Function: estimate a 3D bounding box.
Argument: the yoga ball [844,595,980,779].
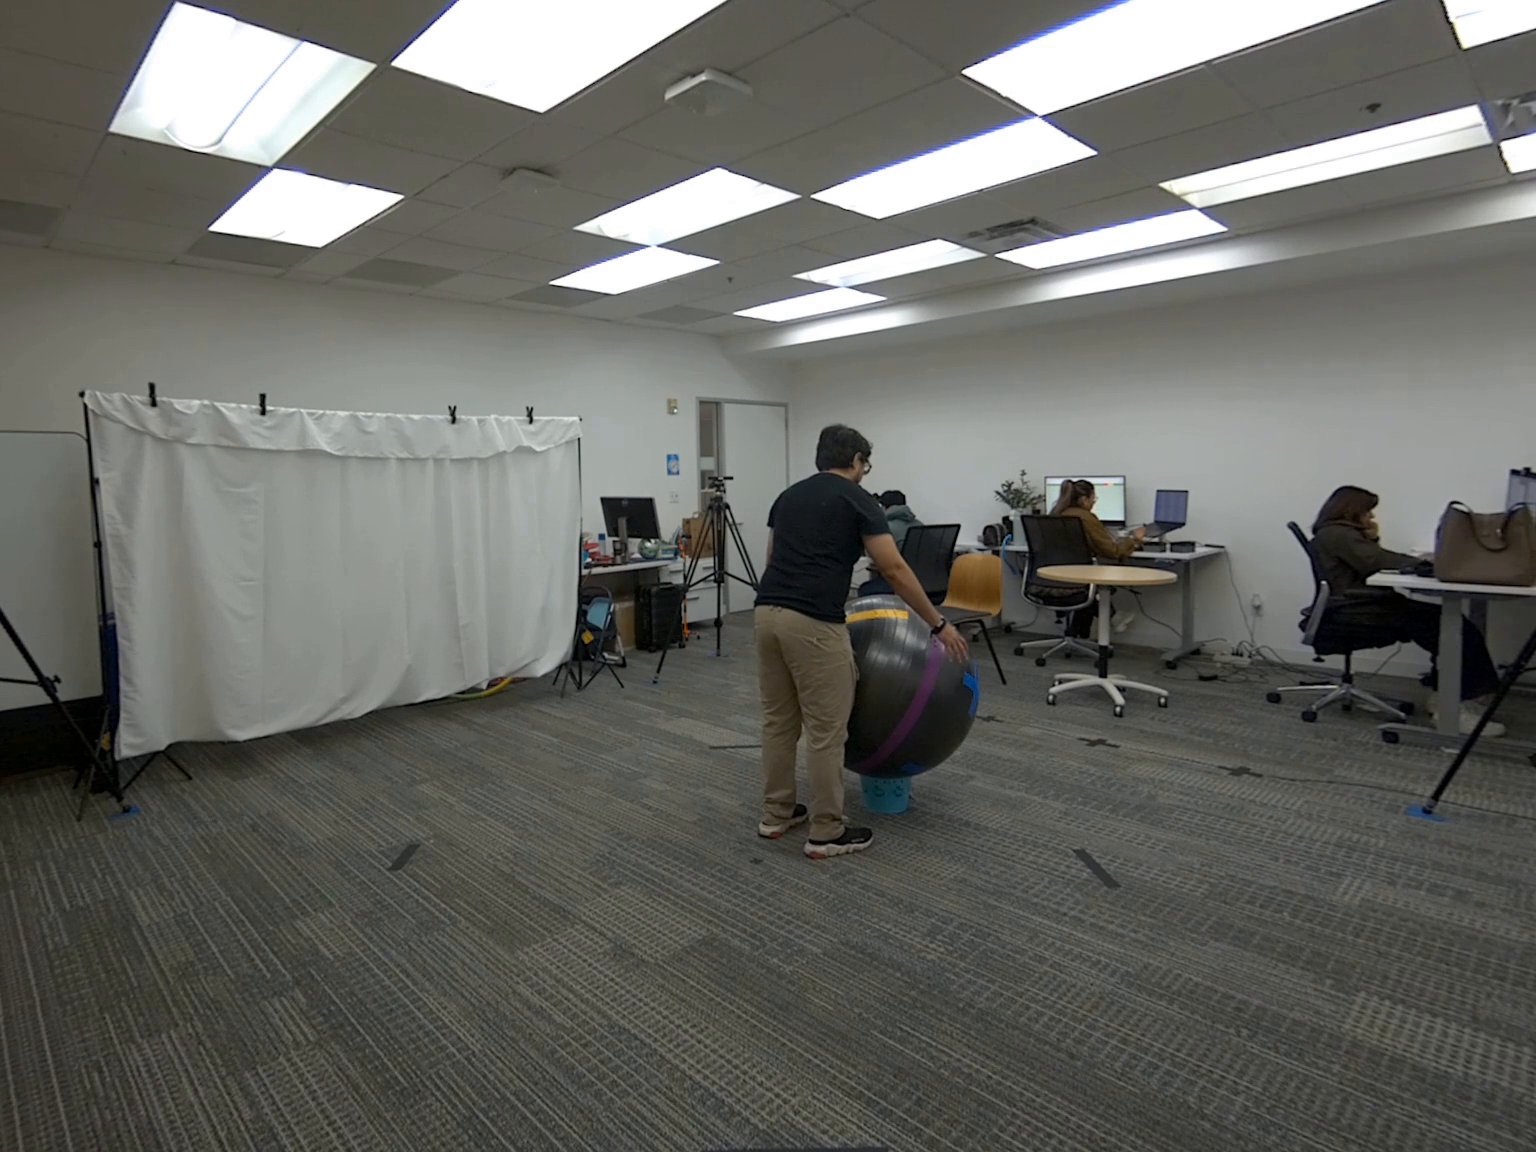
[{"bbox_3d":[0.495,0.463,3.588,0.757,0.755,0.762,-1,5,-2],"label":"yoga ball"}]
